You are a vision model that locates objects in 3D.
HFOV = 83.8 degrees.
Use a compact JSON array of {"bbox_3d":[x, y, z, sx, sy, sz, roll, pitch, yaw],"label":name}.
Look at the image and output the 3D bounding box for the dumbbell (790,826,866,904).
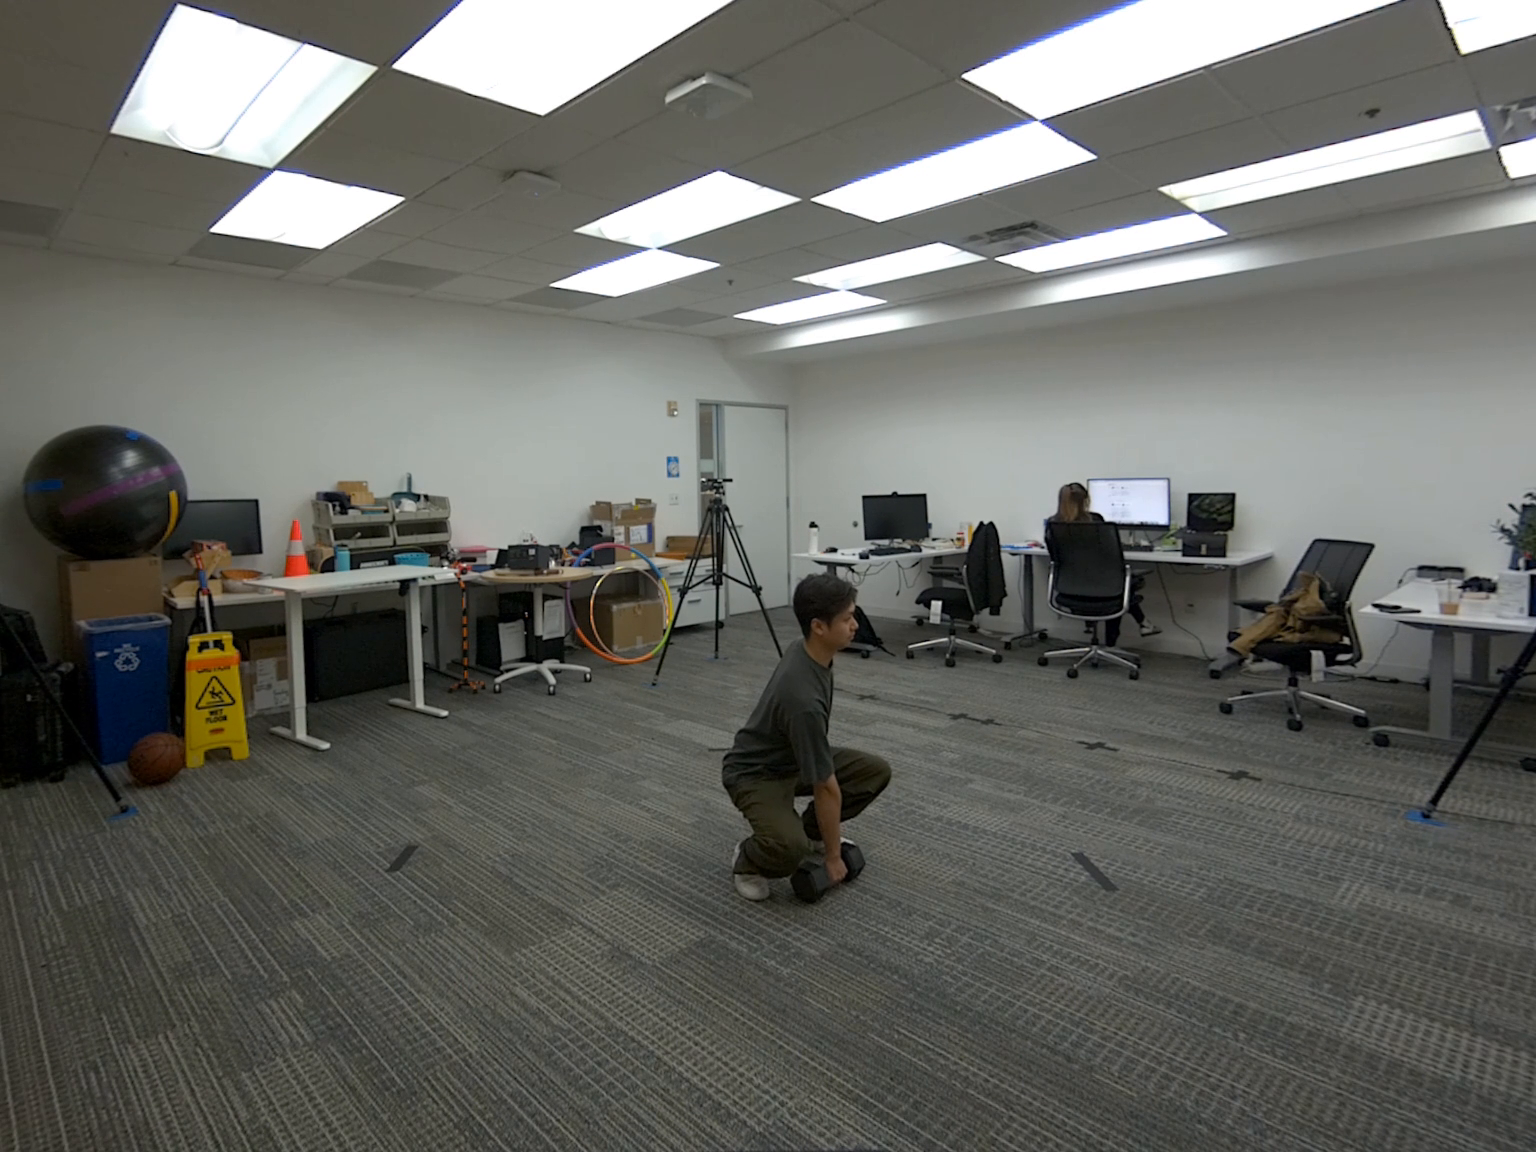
[{"bbox_3d":[0.211,1.006,2.898,0.286,0.121,0.113,-9,39,-46],"label":"dumbbell"}]
